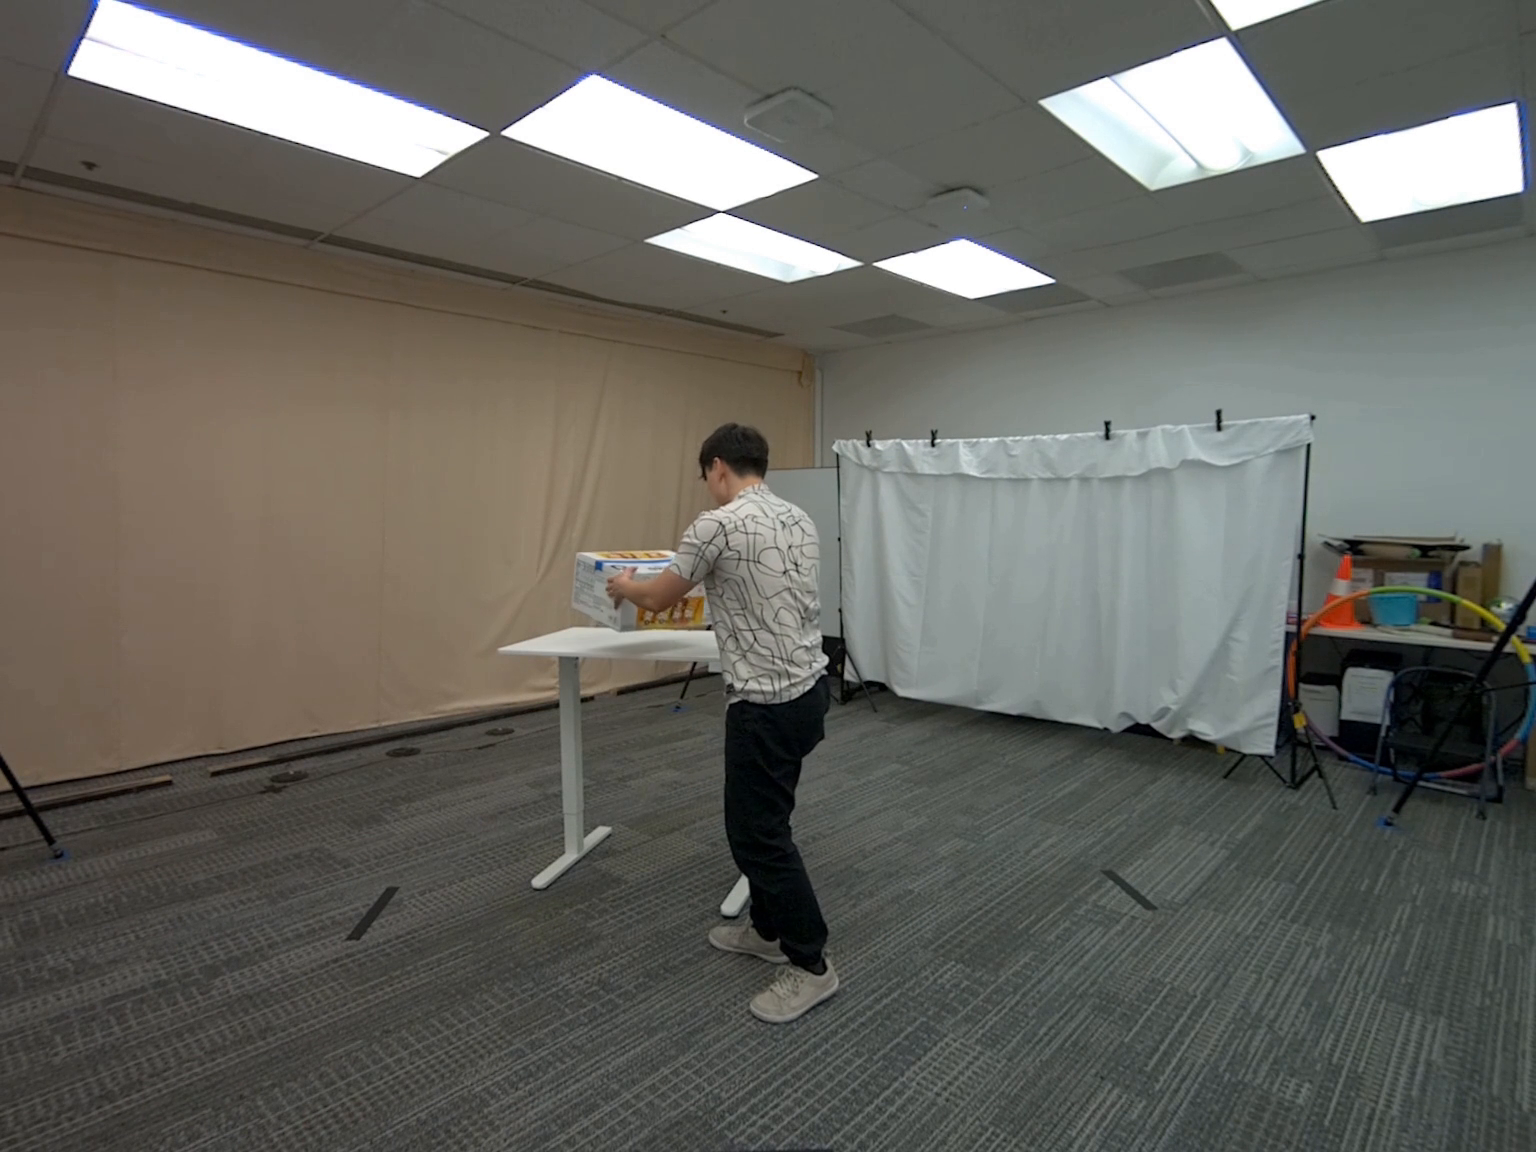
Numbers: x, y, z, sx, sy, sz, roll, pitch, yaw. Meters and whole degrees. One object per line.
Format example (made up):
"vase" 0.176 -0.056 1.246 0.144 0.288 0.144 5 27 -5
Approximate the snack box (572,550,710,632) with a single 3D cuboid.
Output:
"snack box" -0.431 0.051 2.984 0.393 0.204 0.353 -3 14 -39
